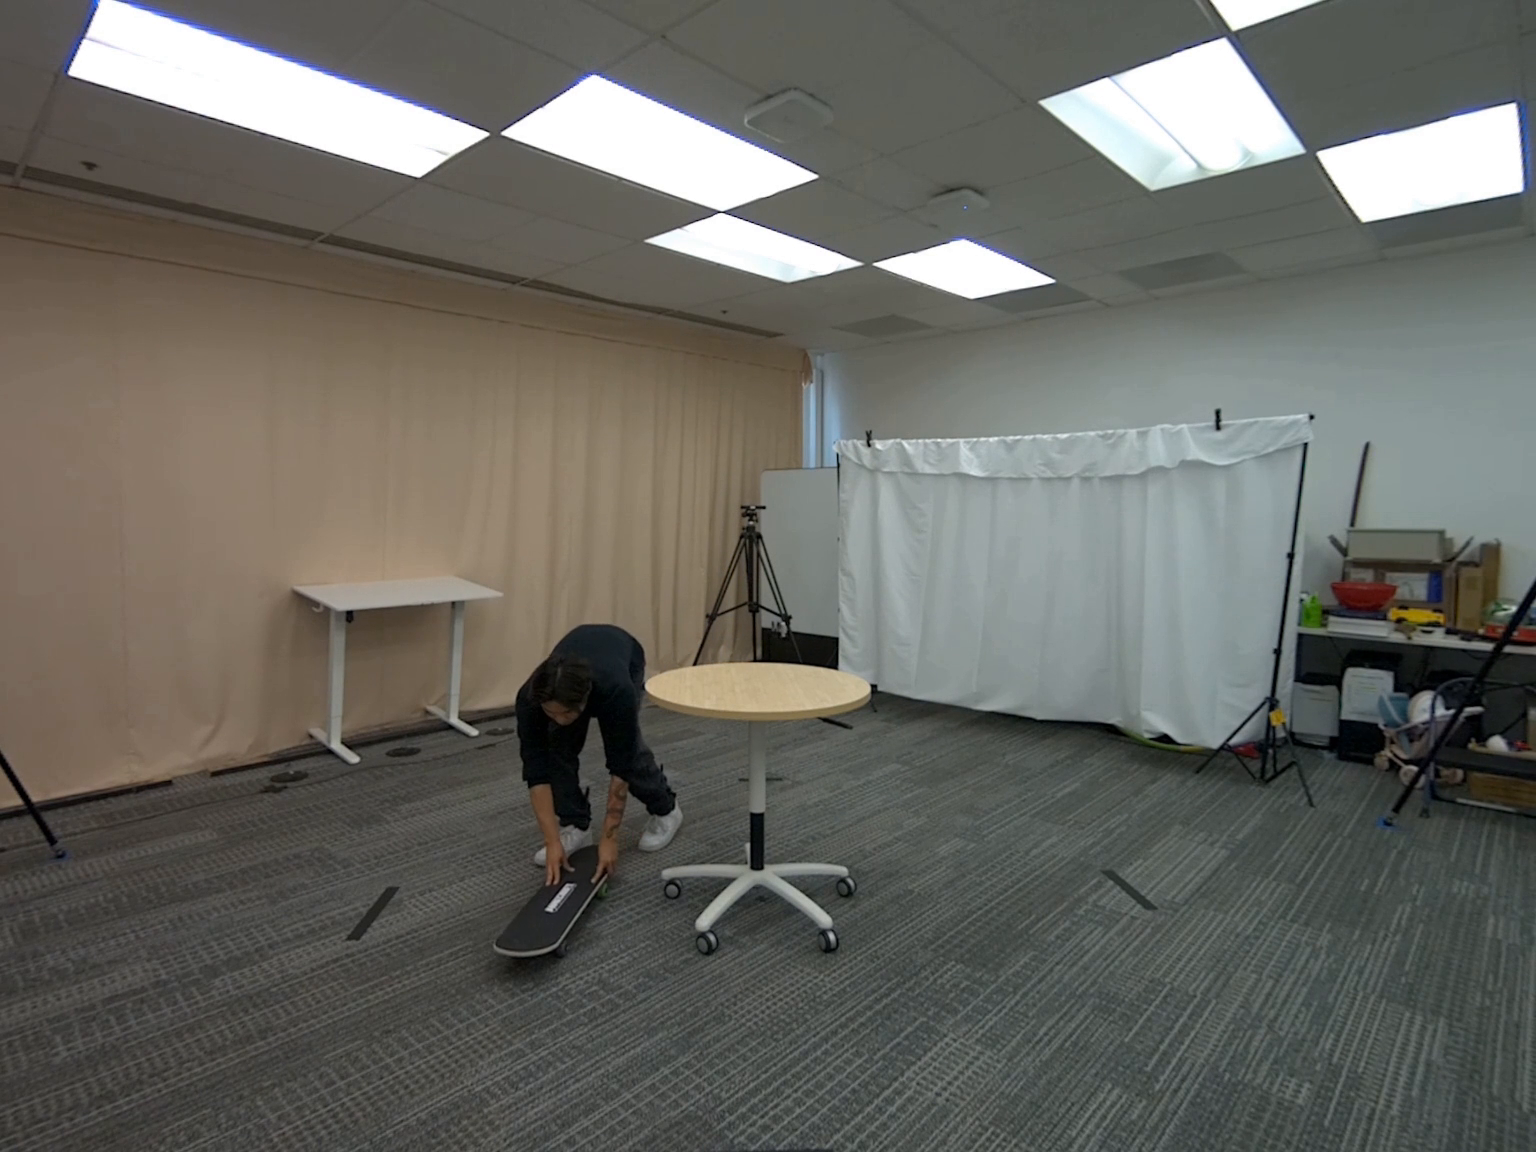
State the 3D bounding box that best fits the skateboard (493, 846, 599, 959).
[{"bbox_3d":[-0.681,1.097,2.819,0.195,0.110,0.780,0,5,7],"label":"skateboard"}]
